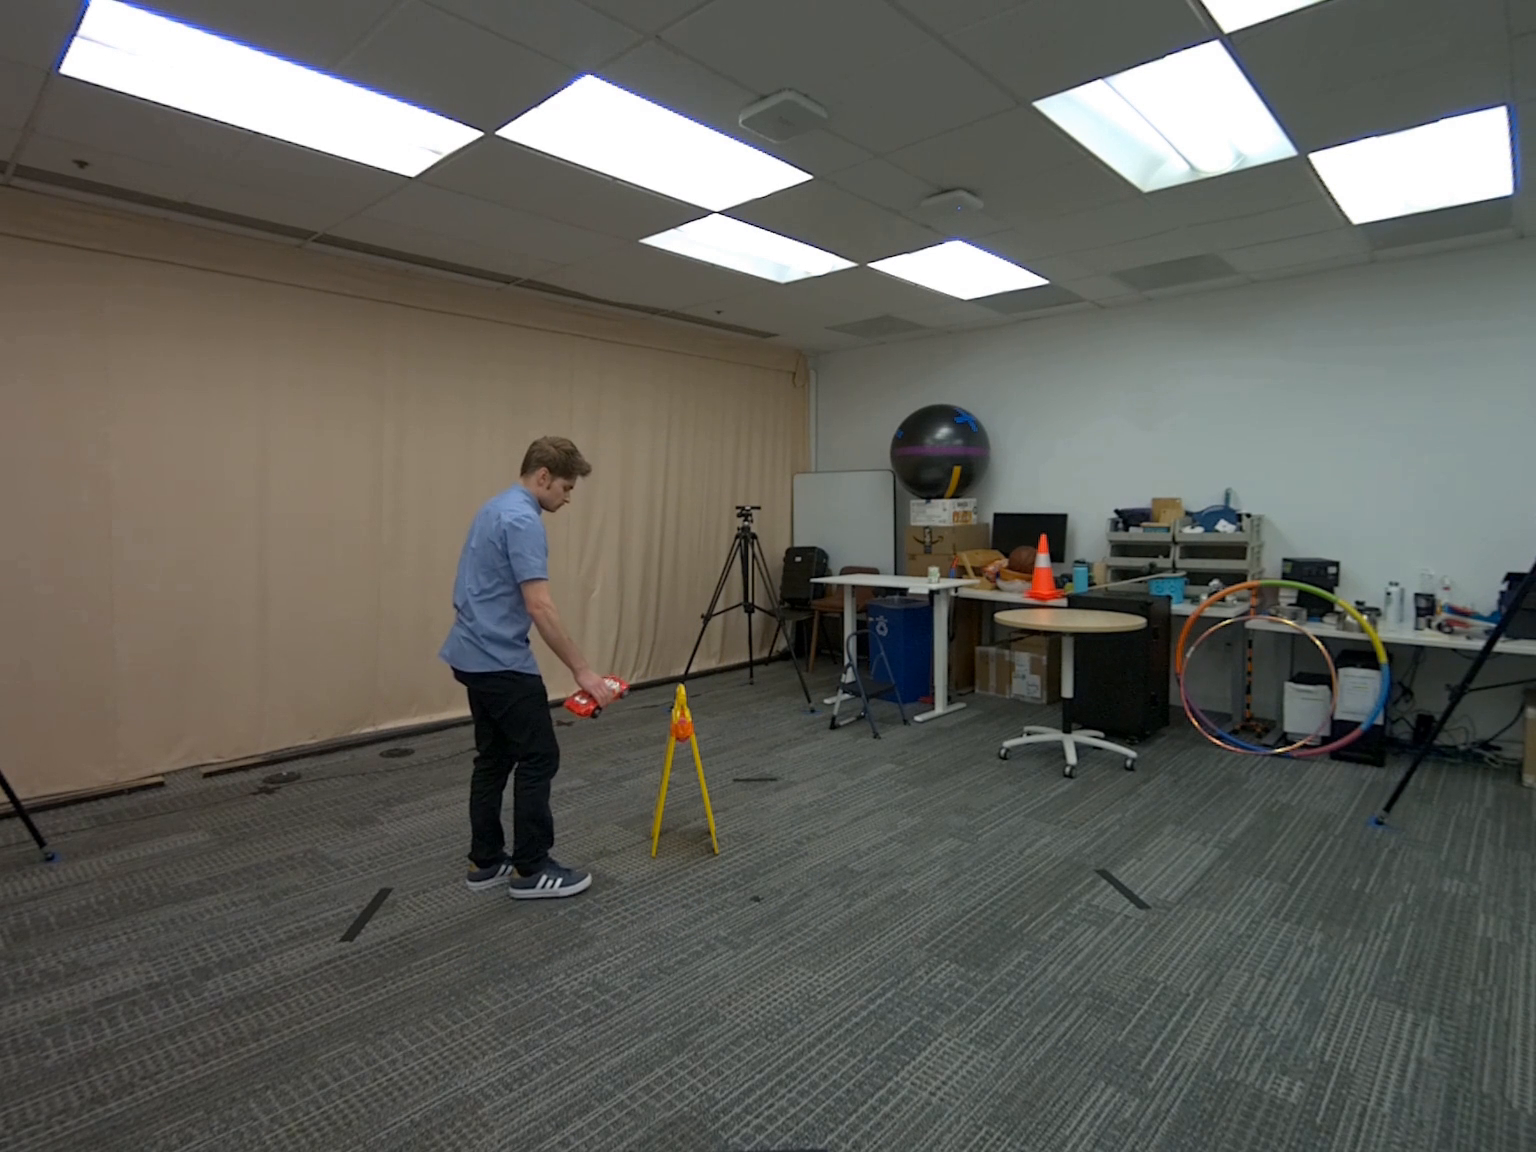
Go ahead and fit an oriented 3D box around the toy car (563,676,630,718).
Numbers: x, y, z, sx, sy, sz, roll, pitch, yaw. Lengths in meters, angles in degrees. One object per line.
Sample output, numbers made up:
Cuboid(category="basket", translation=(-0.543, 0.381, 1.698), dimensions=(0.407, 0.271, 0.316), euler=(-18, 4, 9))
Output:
Cuboid(category="toy car", translation=(-0.608, 0.438, 2.953), dimensions=(0.134, 0.082, 0.248), euler=(21, 22, 31))
